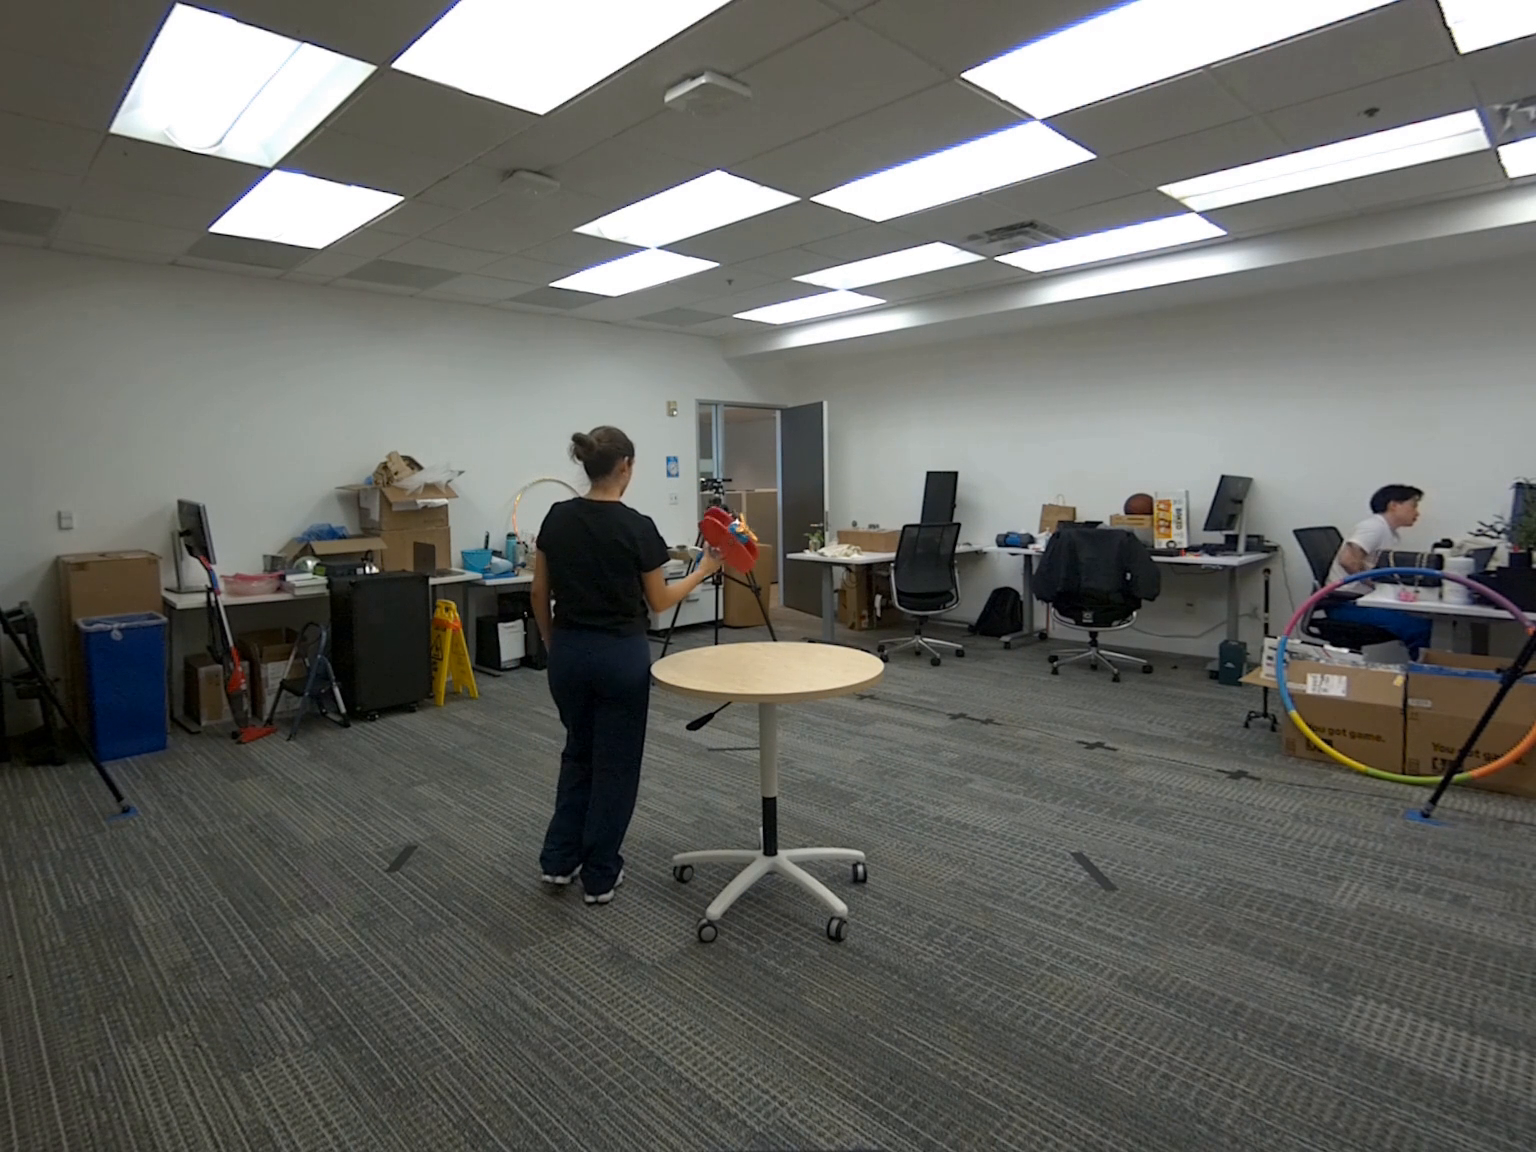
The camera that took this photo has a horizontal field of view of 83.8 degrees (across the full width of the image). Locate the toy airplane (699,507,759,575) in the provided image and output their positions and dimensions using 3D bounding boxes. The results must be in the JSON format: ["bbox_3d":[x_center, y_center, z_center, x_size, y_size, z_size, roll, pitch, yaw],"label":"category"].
[{"bbox_3d":[-0.163,-0.102,3.136,0.251,0.256,0.158,18,21,-2],"label":"toy airplane"}]
